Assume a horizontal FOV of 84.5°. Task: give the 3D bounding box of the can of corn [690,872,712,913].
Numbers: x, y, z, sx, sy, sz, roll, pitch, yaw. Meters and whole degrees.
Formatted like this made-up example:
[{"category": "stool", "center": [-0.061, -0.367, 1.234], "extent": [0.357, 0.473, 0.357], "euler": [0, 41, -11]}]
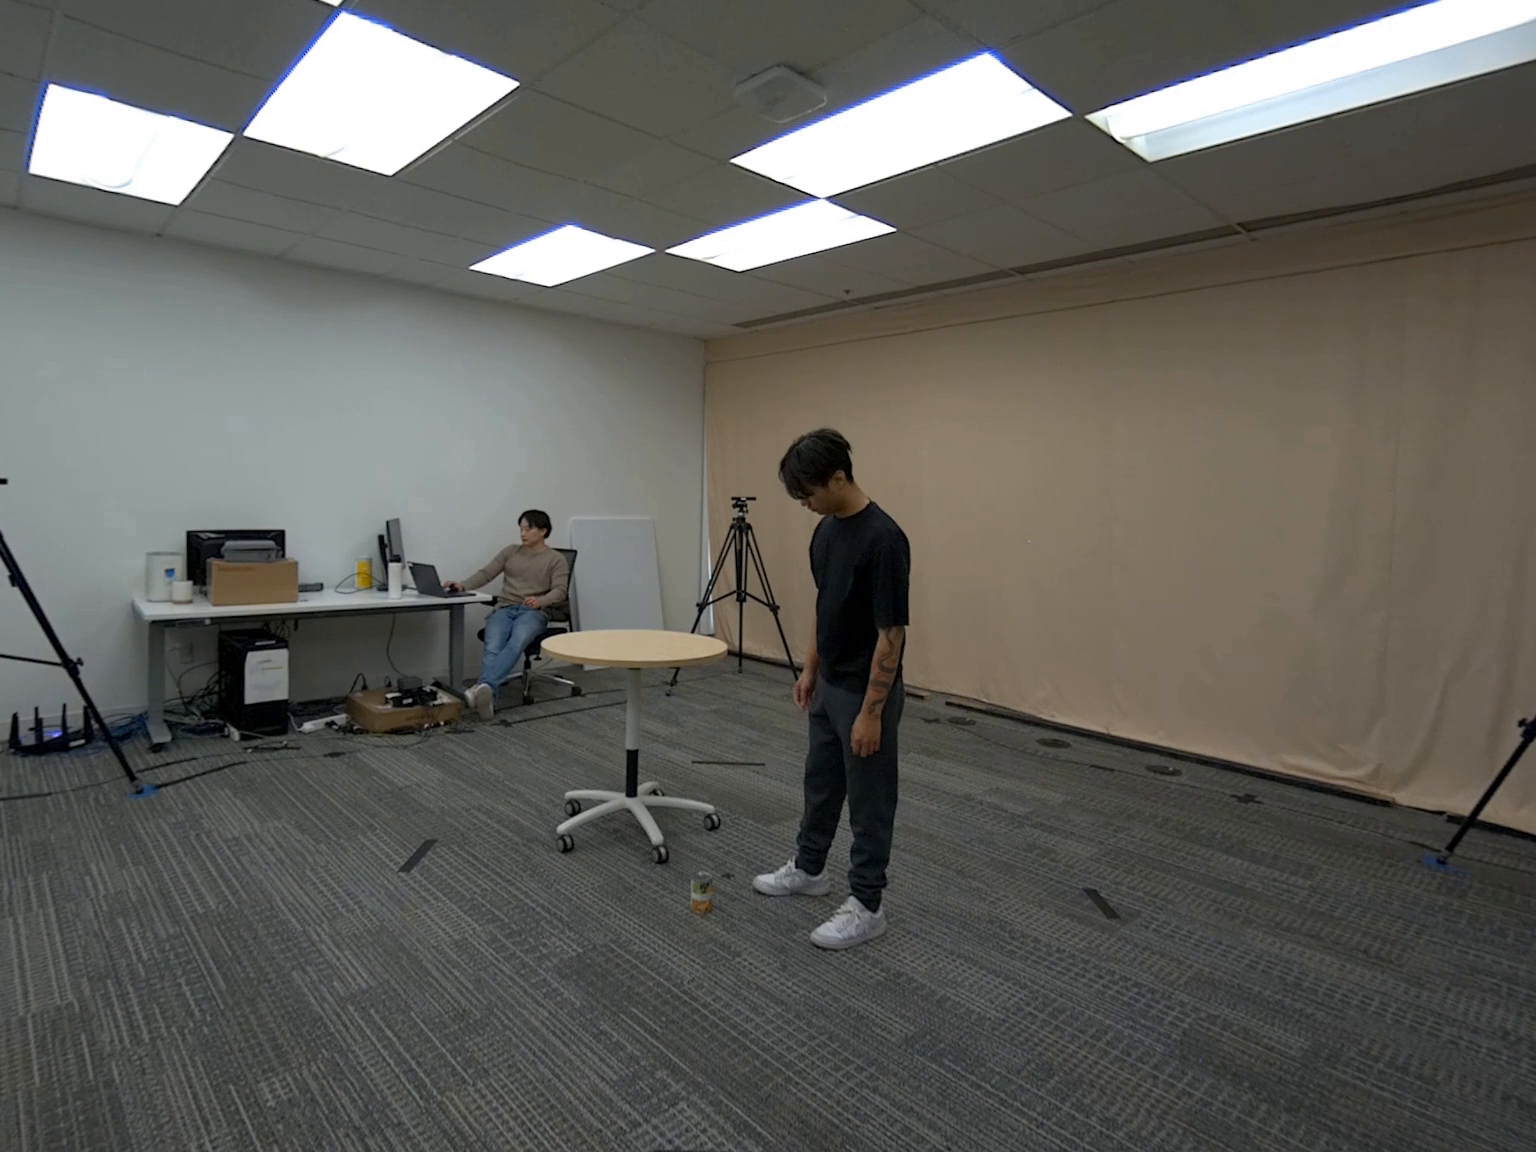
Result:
[{"category": "can of corn", "center": [-0.236, 1.077, 2.851], "extent": [0.074, 0.111, 0.074], "euler": [3, 3, -2]}]
